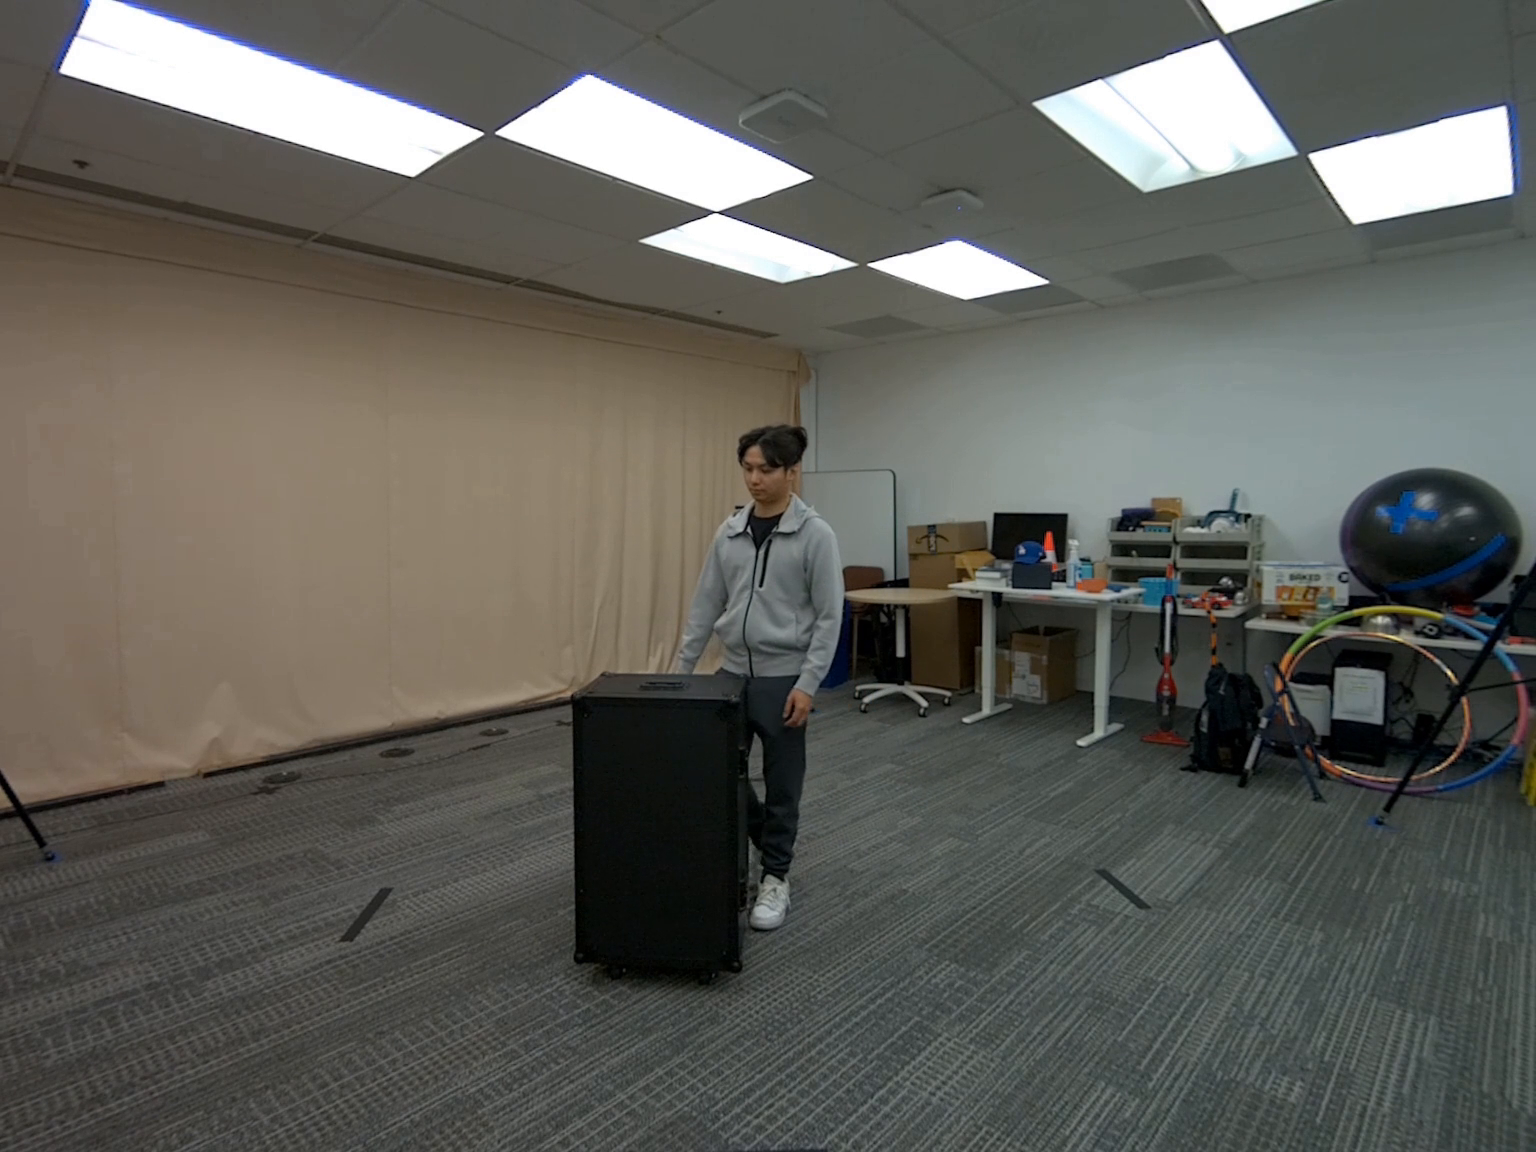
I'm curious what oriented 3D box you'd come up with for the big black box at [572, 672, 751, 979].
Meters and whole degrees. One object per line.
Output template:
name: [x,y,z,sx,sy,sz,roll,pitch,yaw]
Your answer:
big black box: [-0.317,0.755,2.580,0.525,0.861,0.393,0,1,6]
